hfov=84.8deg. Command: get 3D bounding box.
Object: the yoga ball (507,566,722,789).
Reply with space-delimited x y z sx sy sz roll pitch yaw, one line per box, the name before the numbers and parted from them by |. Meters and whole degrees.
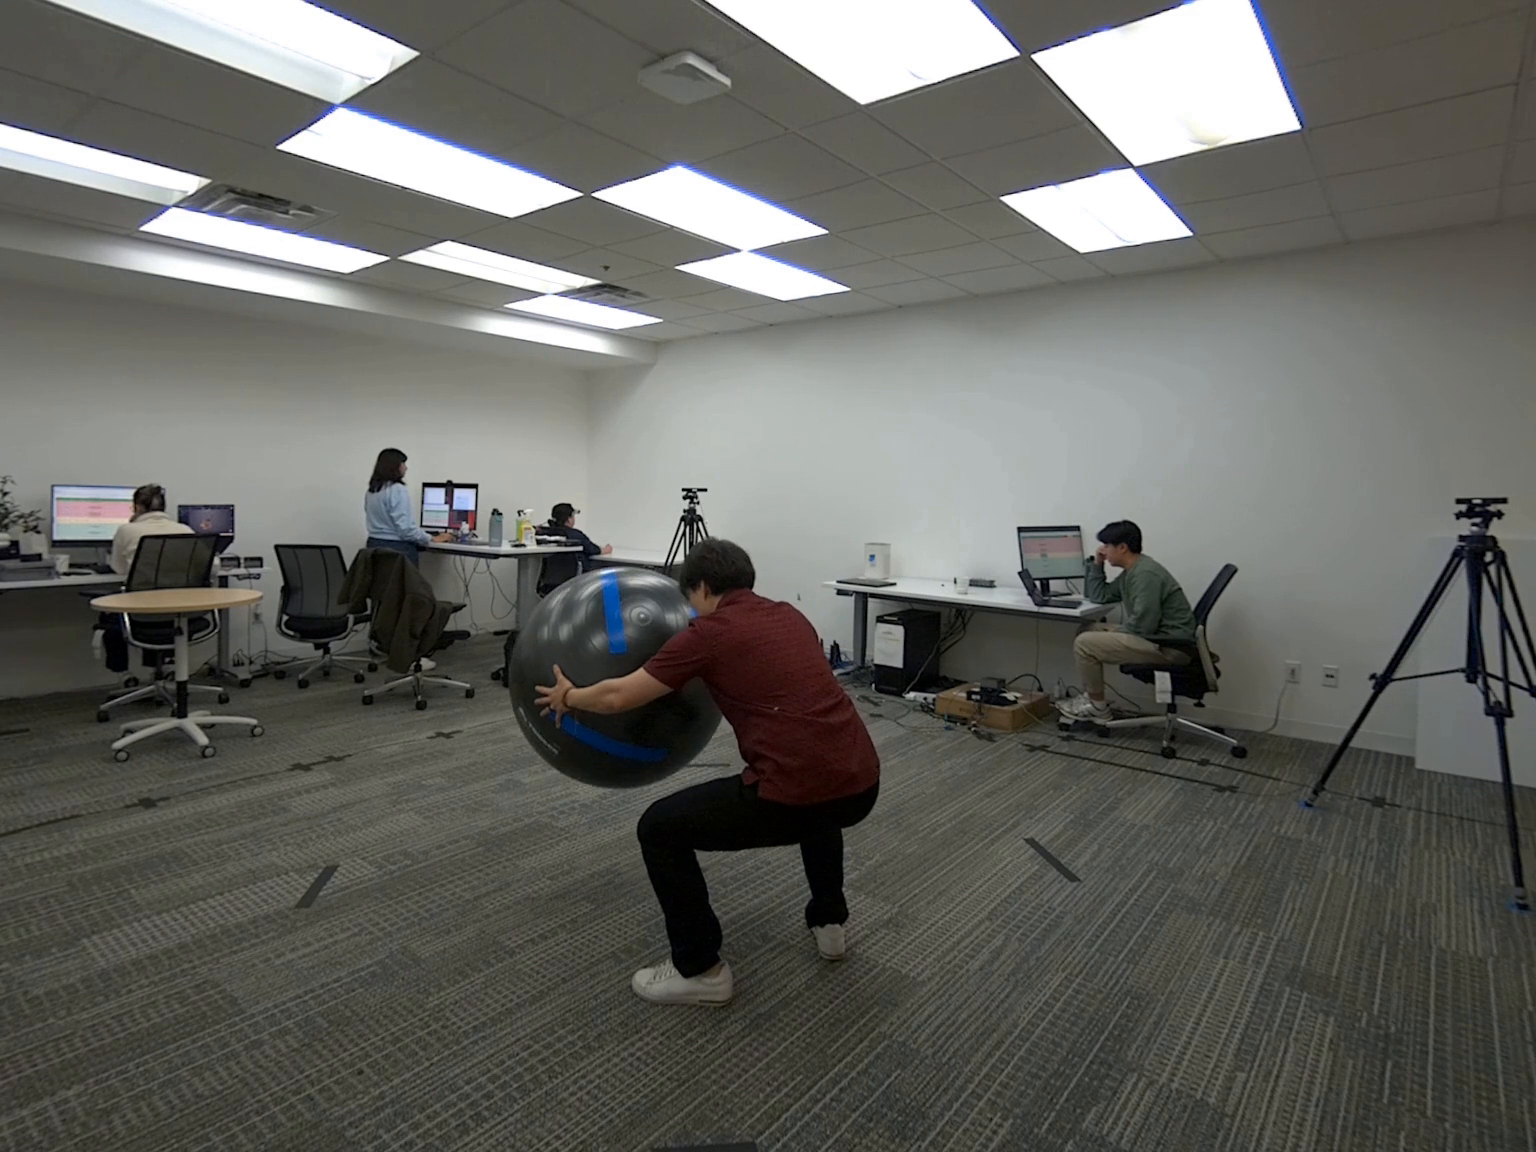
yoga ball | -0.525 0.347 2.968 0.757 0.756 0.762 1 4 -2
